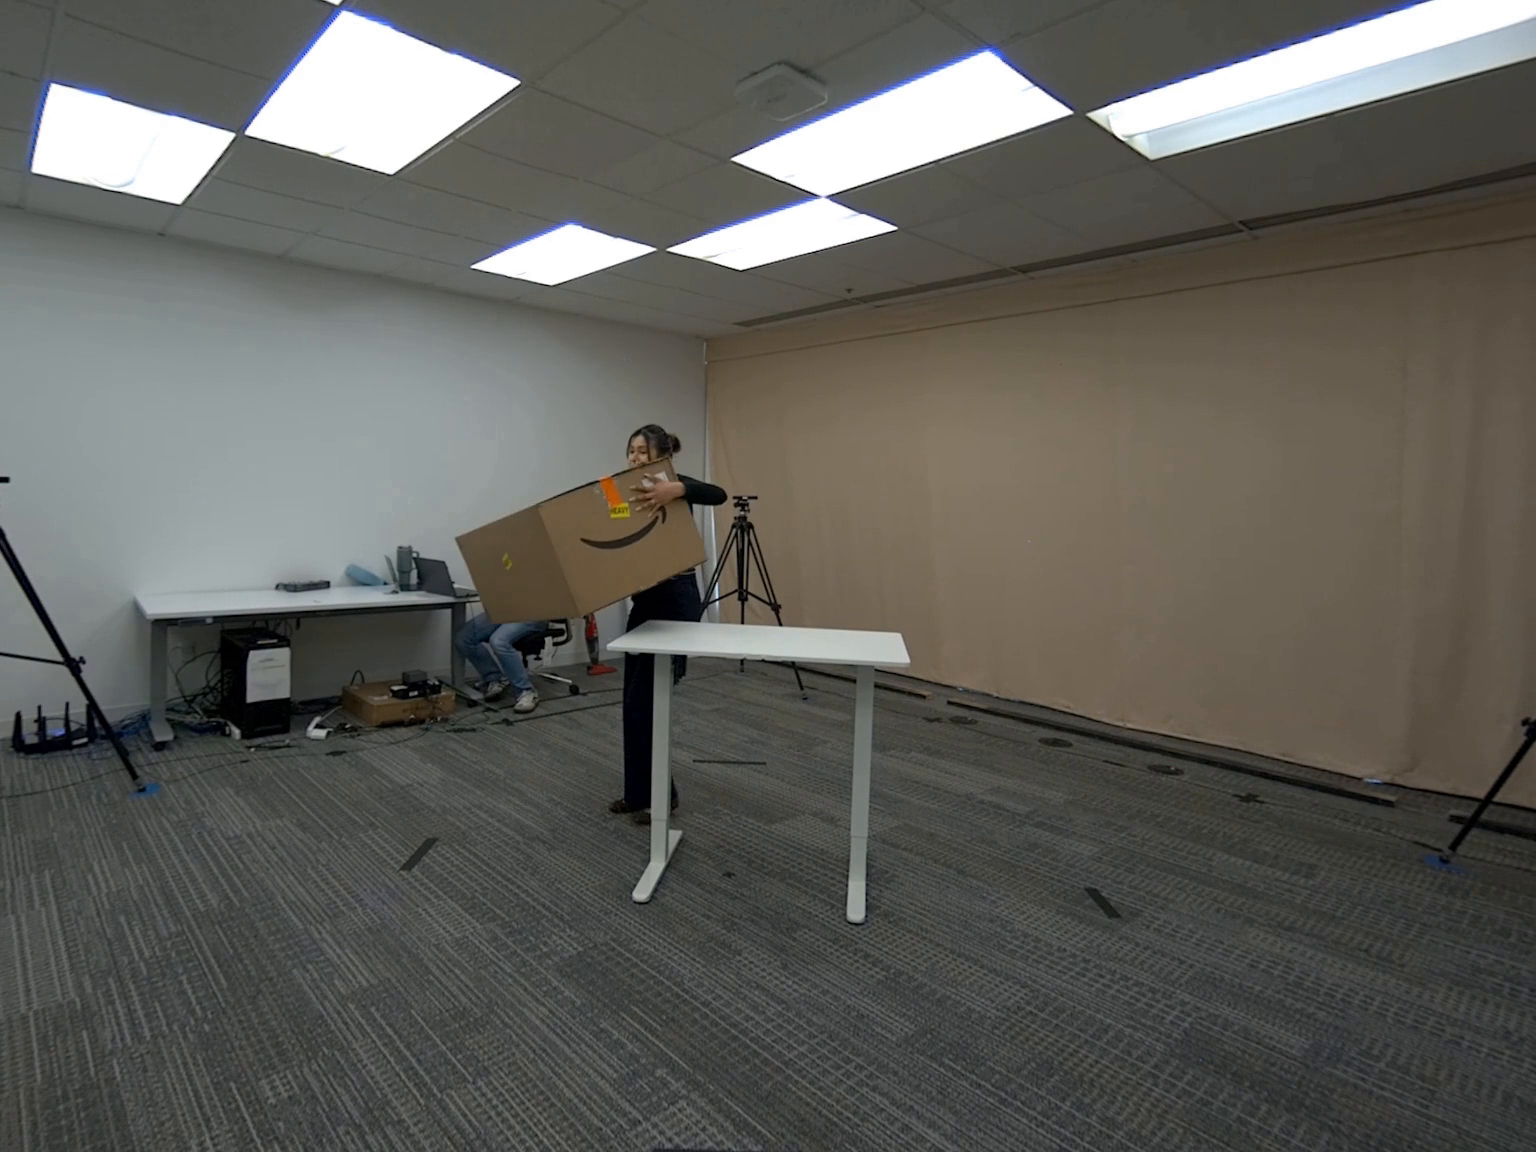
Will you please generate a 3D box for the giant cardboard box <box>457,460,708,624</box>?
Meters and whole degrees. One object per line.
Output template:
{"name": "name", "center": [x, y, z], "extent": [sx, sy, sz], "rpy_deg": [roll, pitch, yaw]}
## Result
{"name": "giant cardboard box", "center": [-0.812, -0.113, 3.446], "extent": [0.571, 0.423, 1.045], "rpy_deg": [-26, 10, -34]}
